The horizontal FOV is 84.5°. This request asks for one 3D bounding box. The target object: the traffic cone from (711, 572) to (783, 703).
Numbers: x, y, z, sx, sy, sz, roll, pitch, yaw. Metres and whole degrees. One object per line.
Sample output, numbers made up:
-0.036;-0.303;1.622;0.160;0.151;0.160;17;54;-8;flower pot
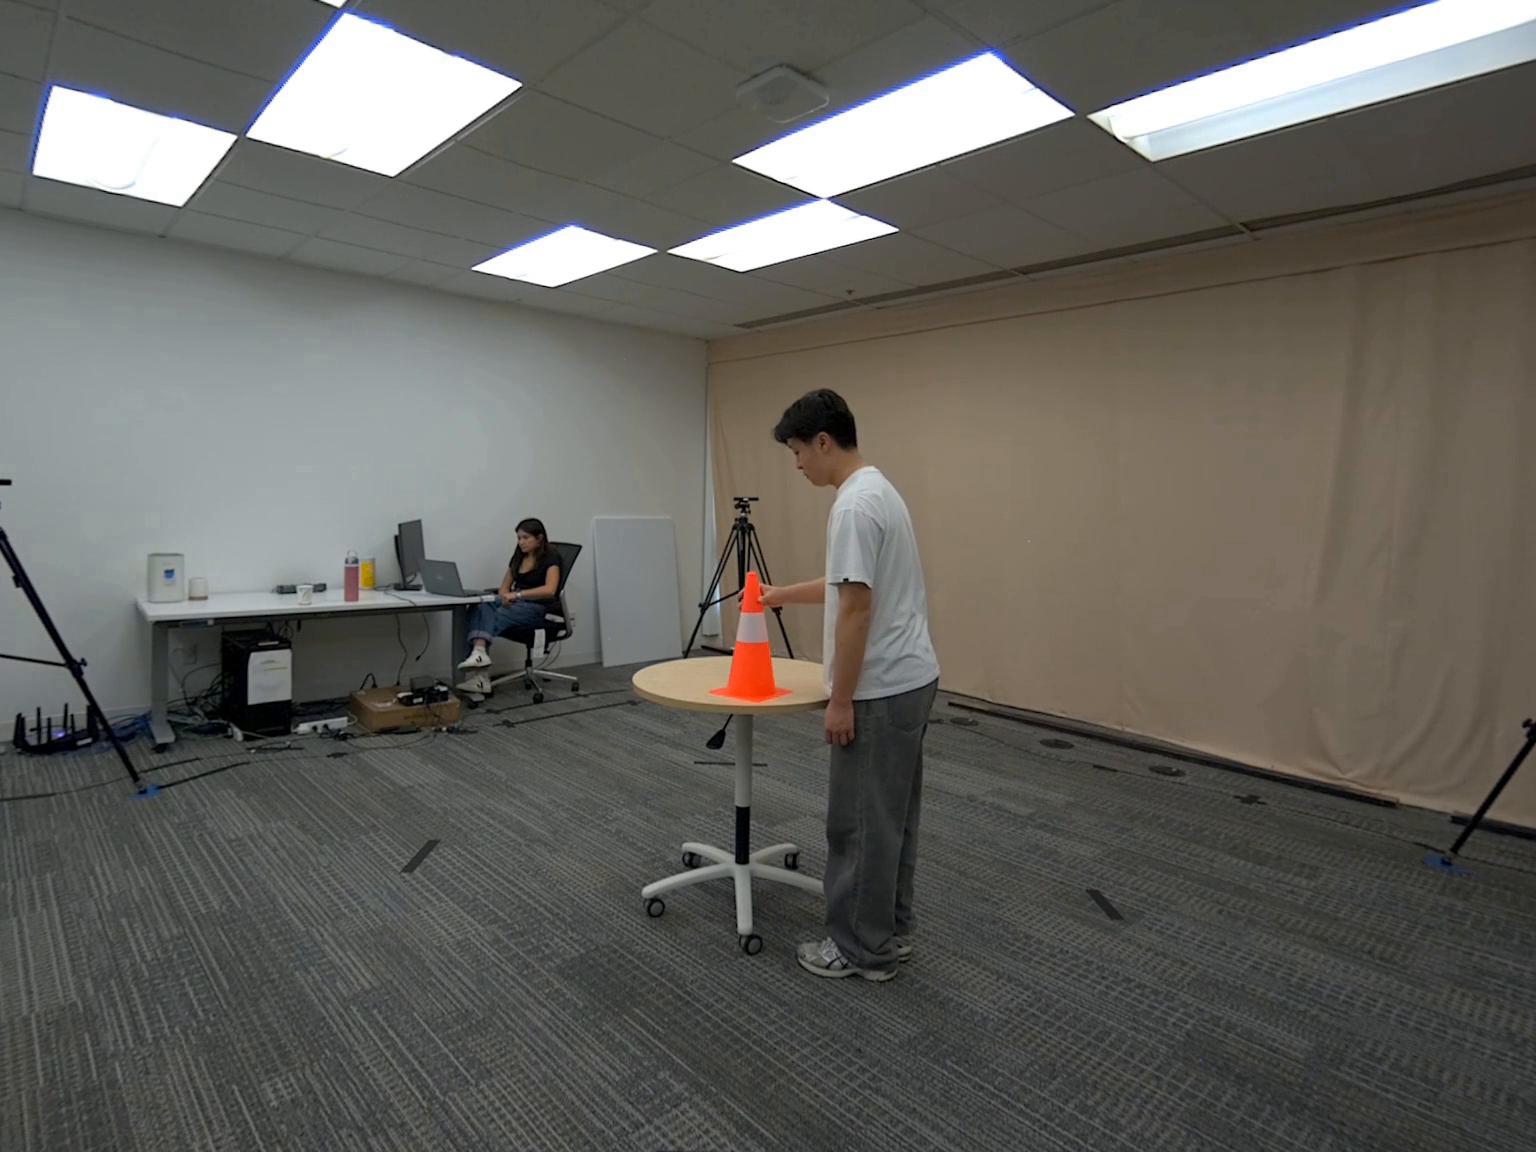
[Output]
-0.049;0.179;2.654;0.208;0.383;0.201;3;4;33;traffic cone
